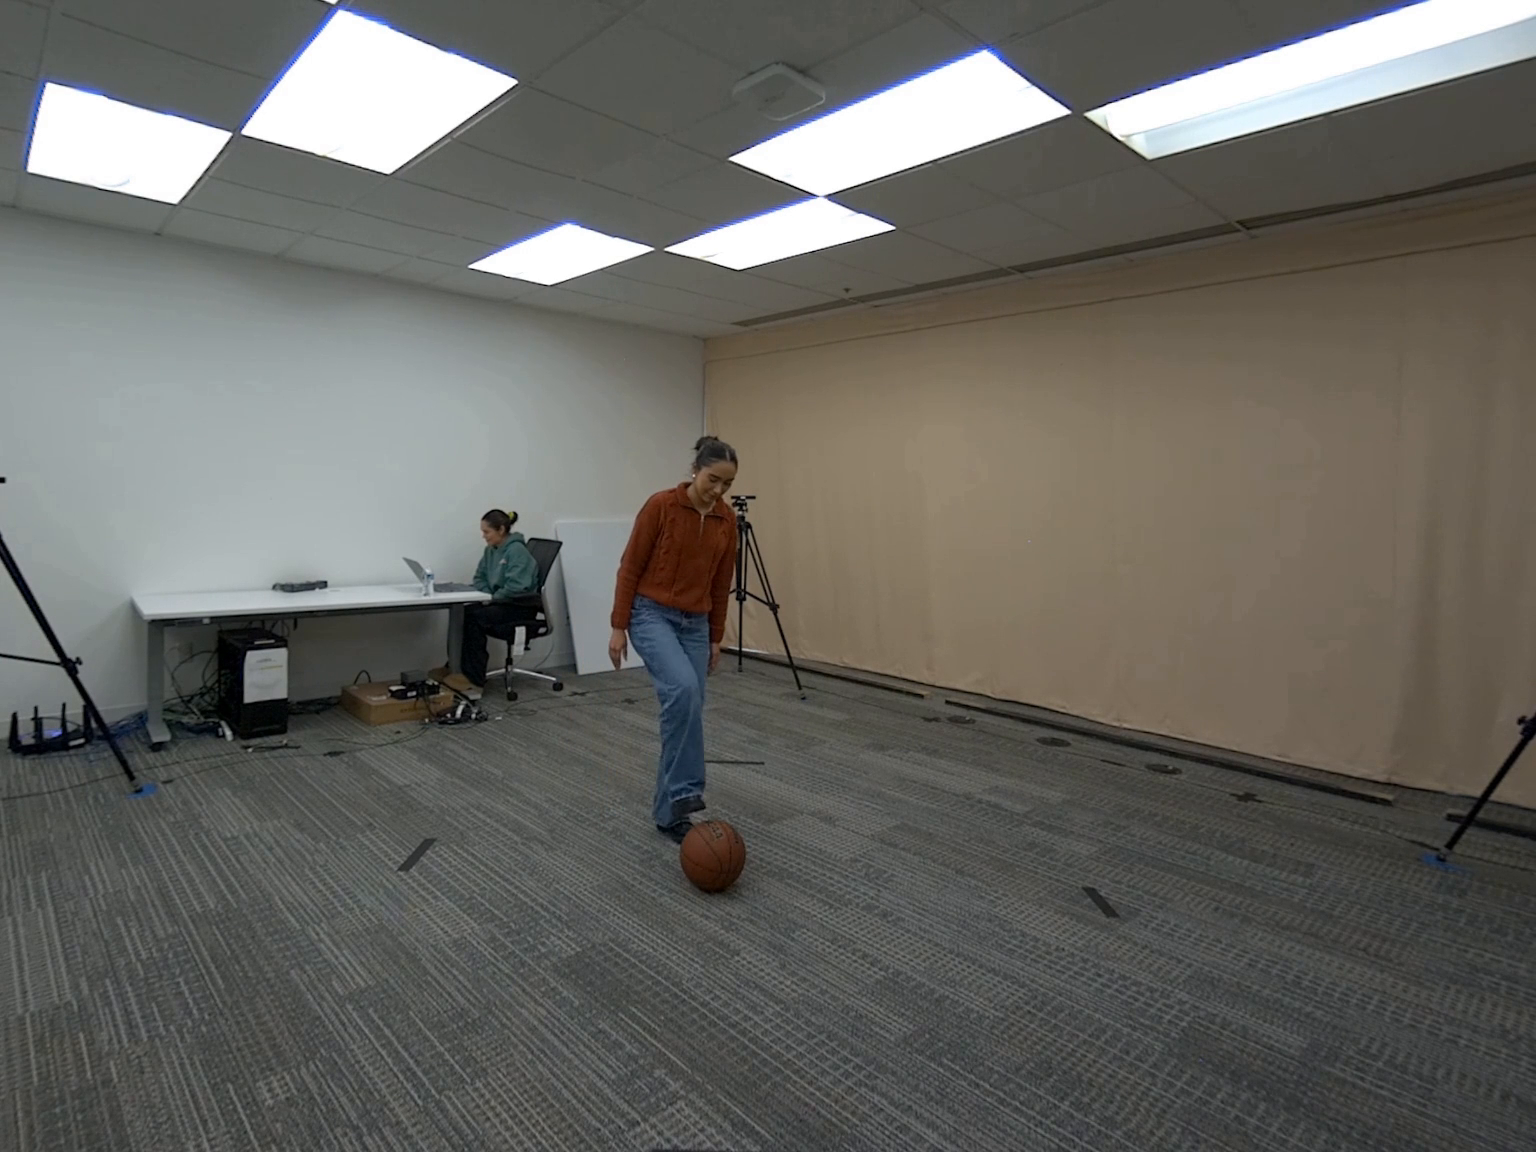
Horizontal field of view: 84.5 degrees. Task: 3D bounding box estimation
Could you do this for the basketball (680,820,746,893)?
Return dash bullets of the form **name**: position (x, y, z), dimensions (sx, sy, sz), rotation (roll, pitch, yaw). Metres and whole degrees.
- **basketball**: position (-0.204, 0.991, 3.003), dimensions (0.236, 0.235, 0.237), rotation (1, 4, -1)
